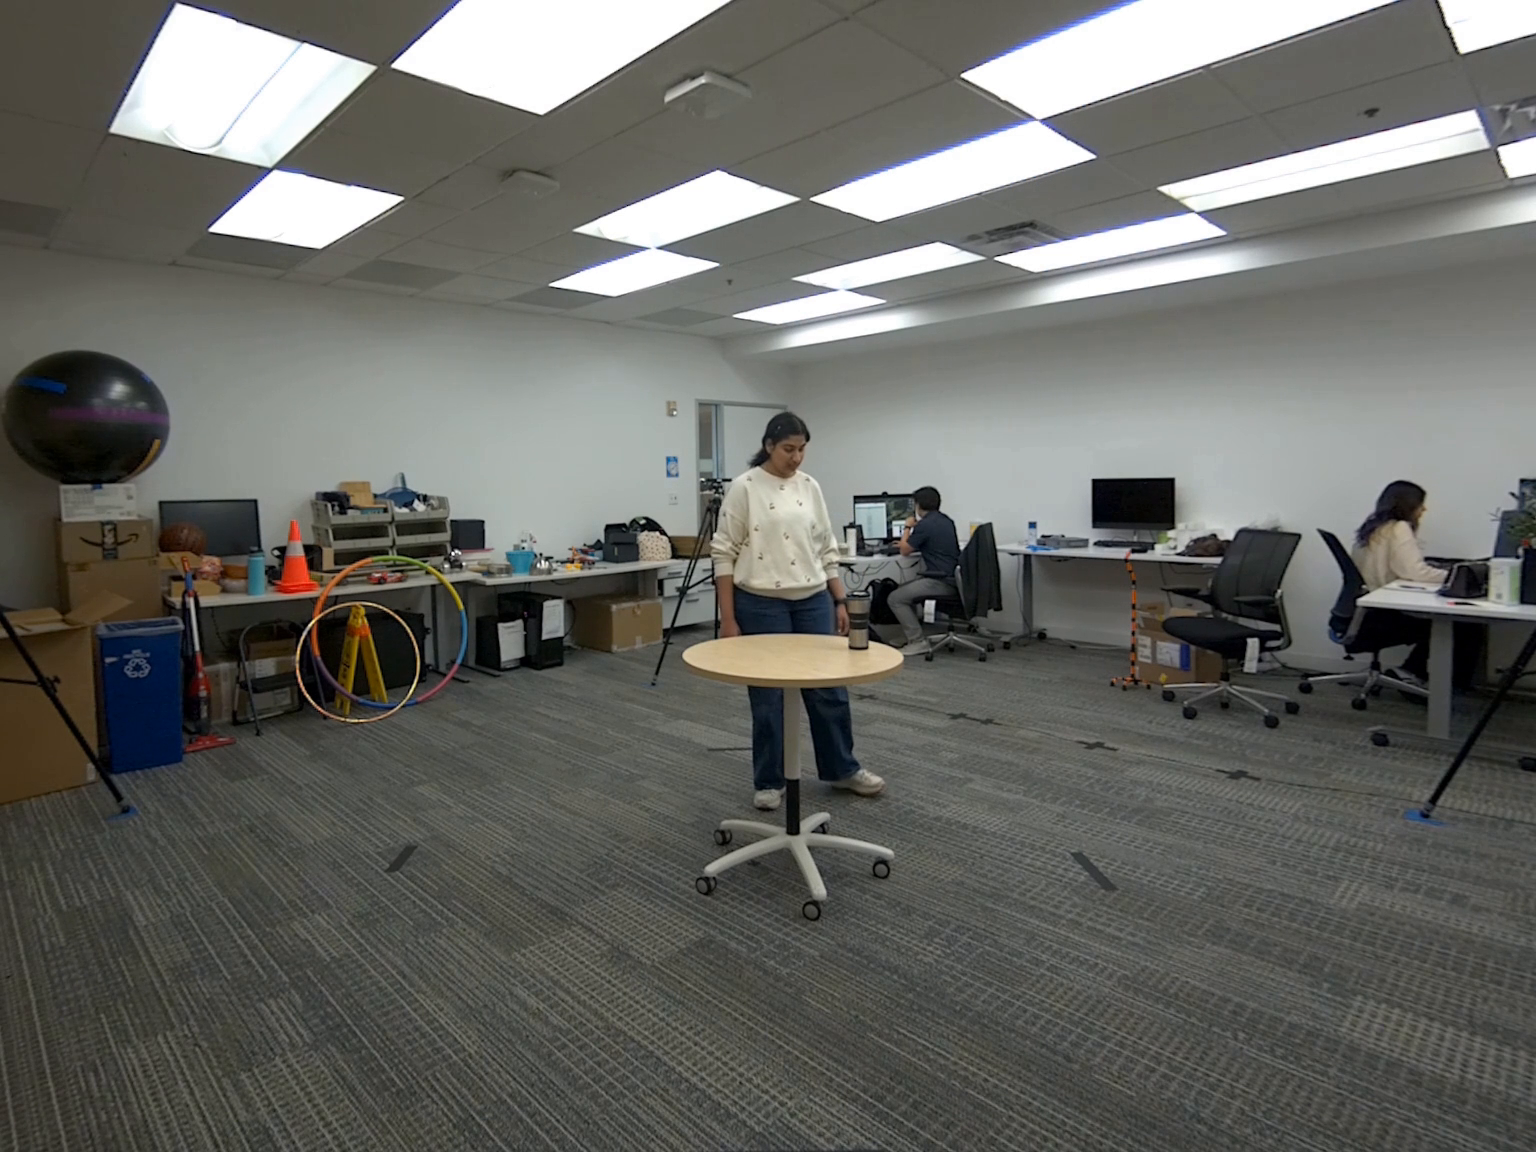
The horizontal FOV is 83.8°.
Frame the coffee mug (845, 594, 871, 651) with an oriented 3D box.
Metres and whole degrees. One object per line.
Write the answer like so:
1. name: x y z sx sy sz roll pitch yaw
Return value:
1. coffee mug: 0.337 0.161 3.082 0.119 0.203 0.090 -8 1 -42
